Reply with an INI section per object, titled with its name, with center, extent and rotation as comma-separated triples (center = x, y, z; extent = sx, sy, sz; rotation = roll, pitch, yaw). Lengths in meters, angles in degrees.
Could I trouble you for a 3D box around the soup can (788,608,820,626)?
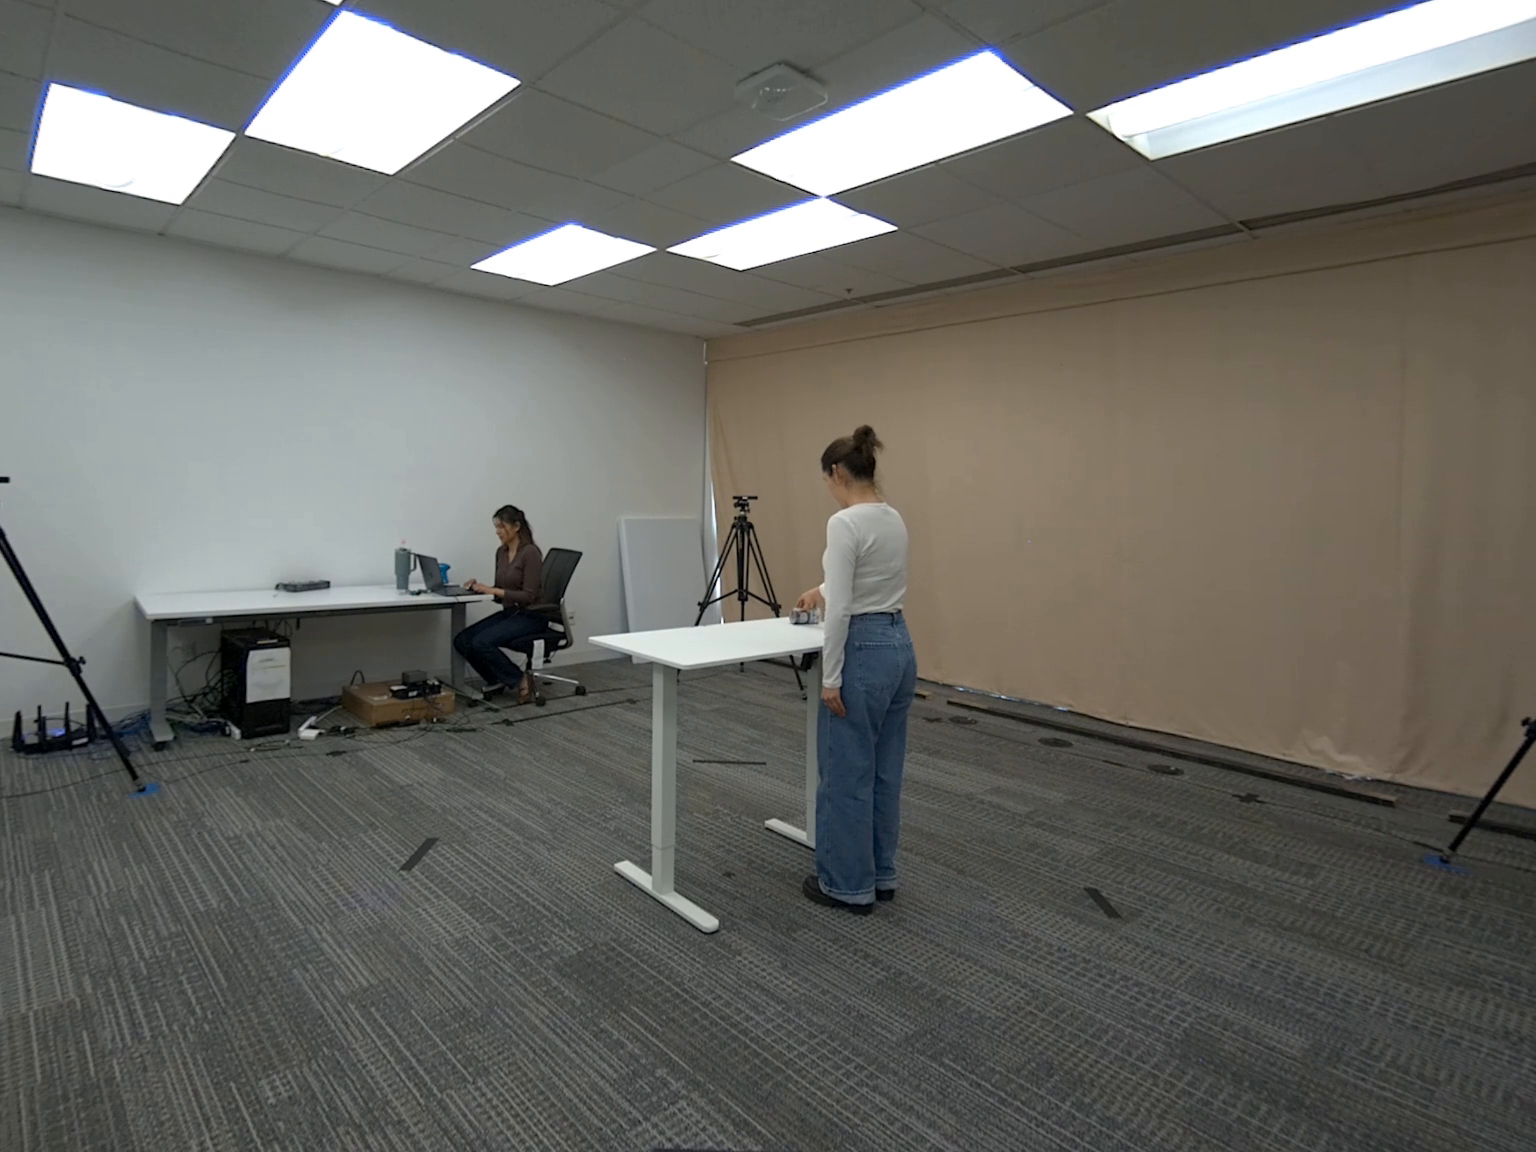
[soup can]
center = 0.122, 0.163, 3.415
extent = 0.066, 0.067, 0.124
rotation = 0, 5, -22
